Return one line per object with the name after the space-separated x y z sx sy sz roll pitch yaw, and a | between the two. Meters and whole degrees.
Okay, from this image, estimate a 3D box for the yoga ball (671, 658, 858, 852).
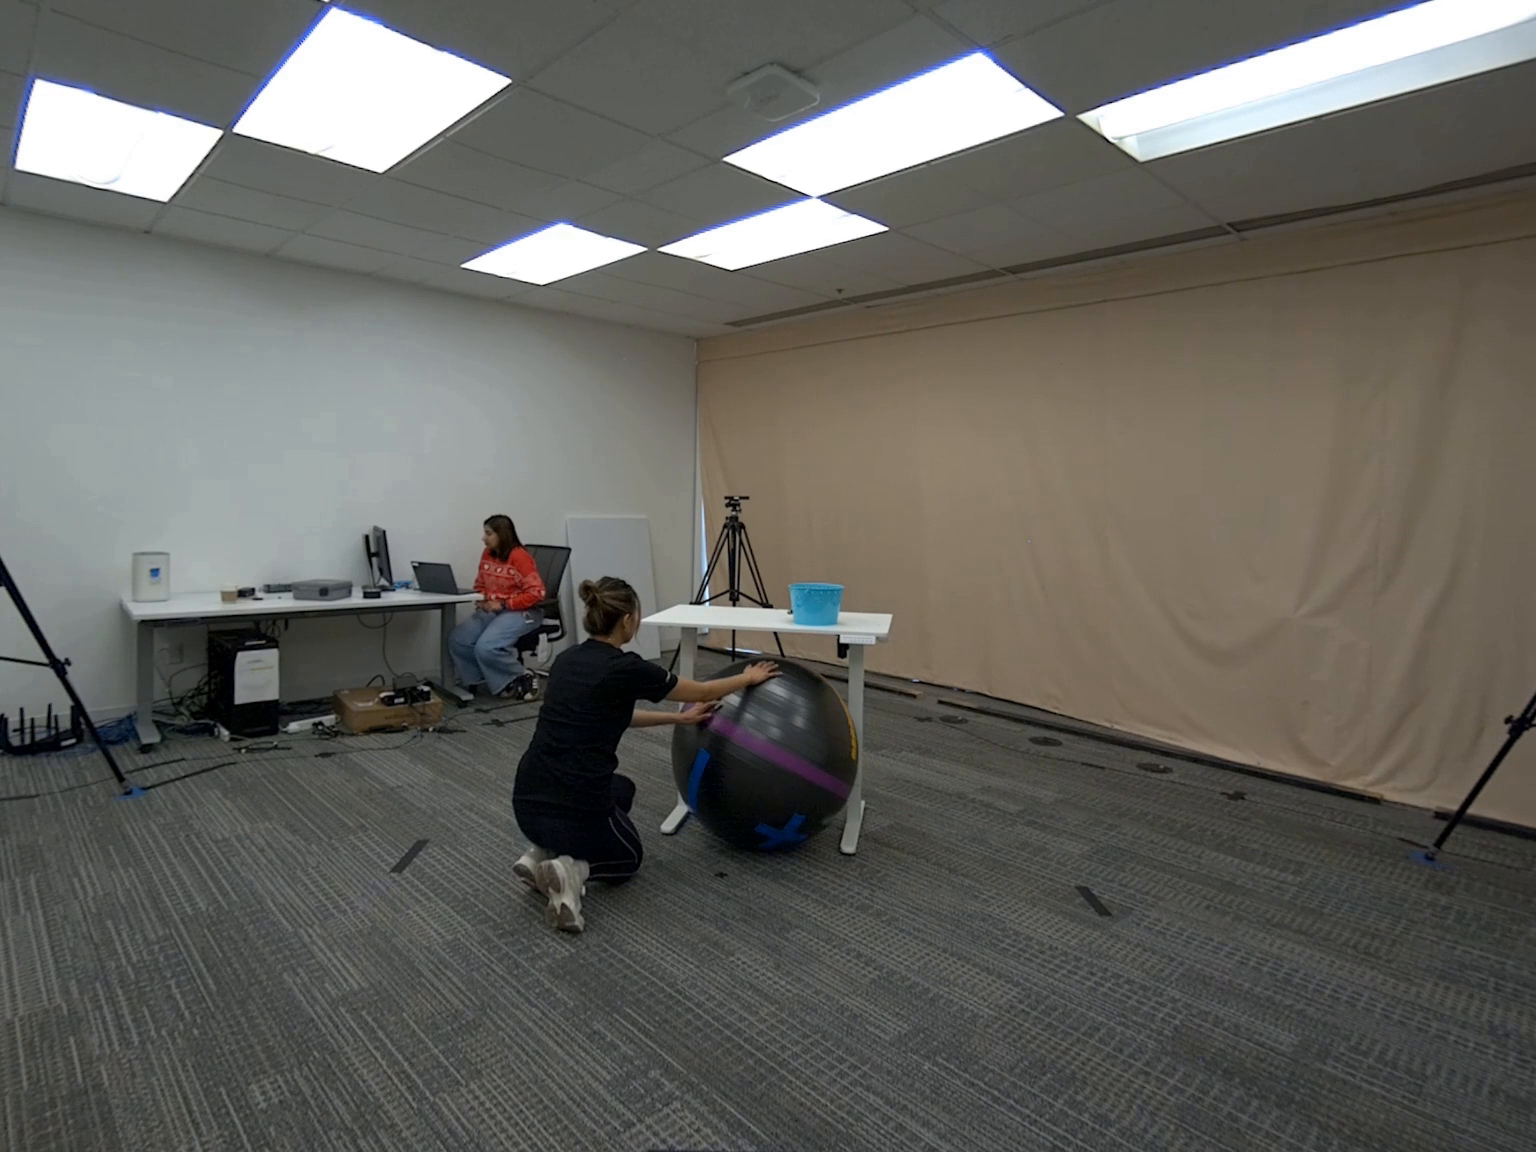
-0.016 0.723 3.428 0.757 0.756 0.761 1 4 -1 | yoga ball
